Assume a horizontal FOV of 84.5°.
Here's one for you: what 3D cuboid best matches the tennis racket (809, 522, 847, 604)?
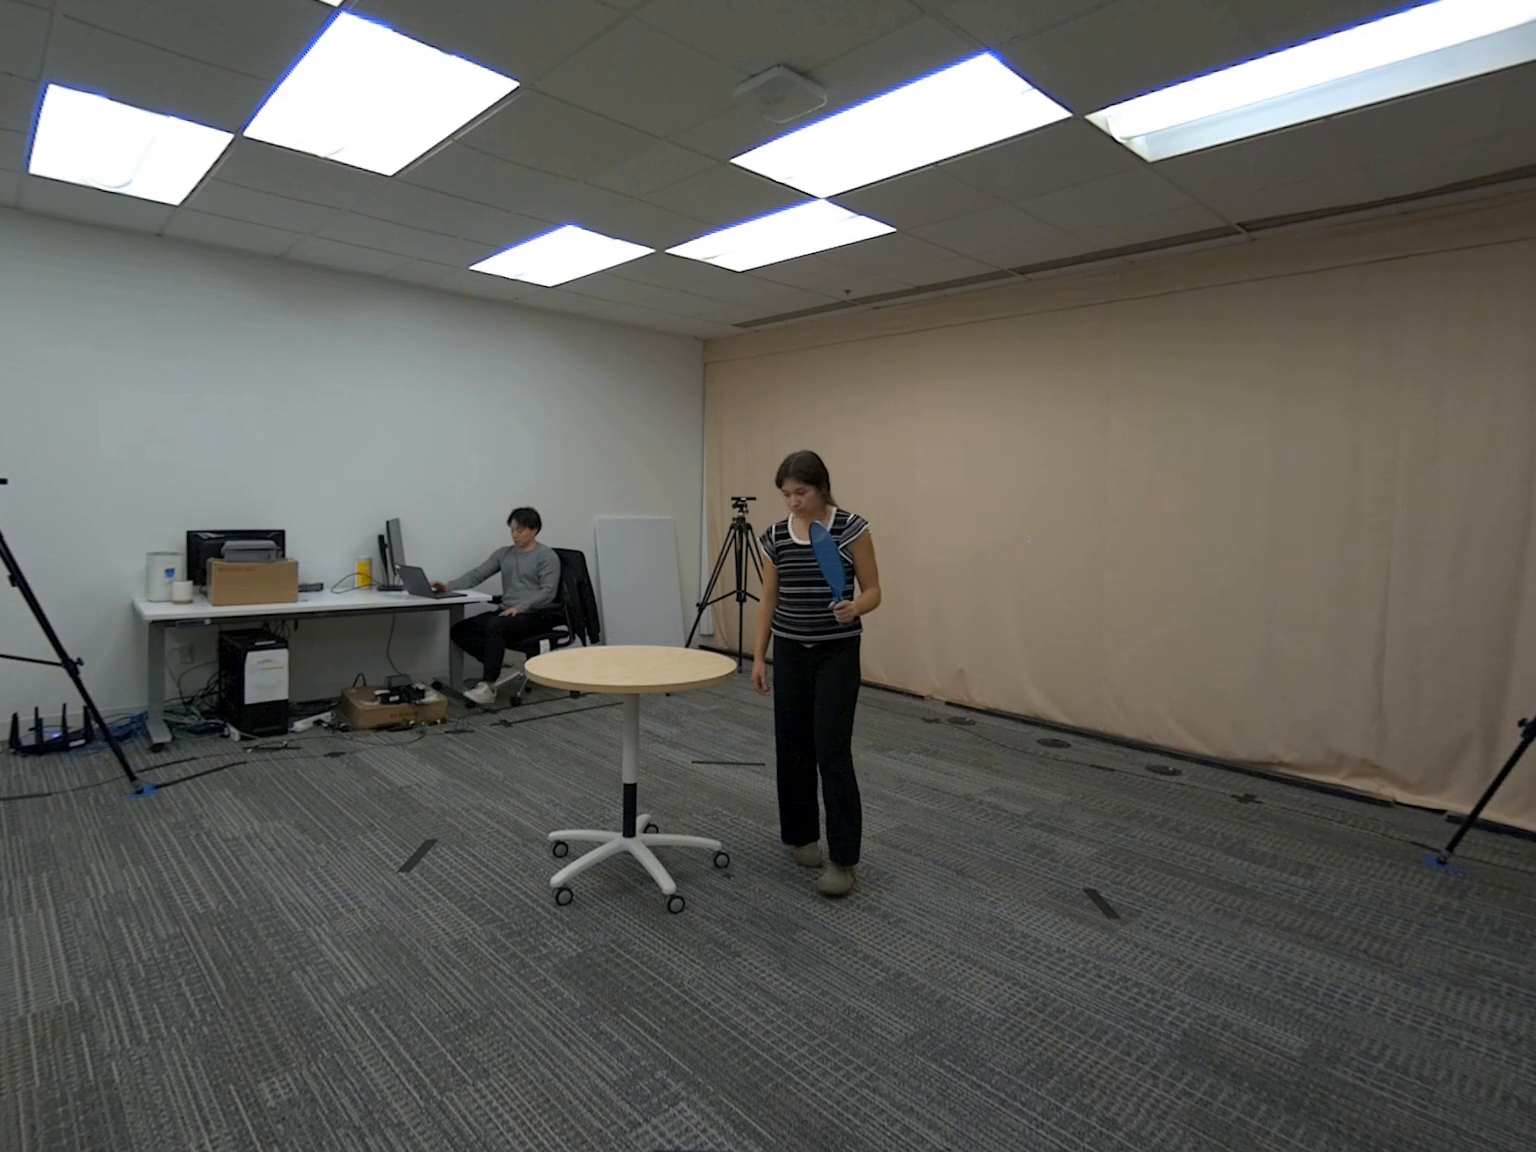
[{"bbox_3d":[0.194,0.000,2.858,0.031,0.422,0.220,-21,38,-17],"label":"tennis racket"}]
